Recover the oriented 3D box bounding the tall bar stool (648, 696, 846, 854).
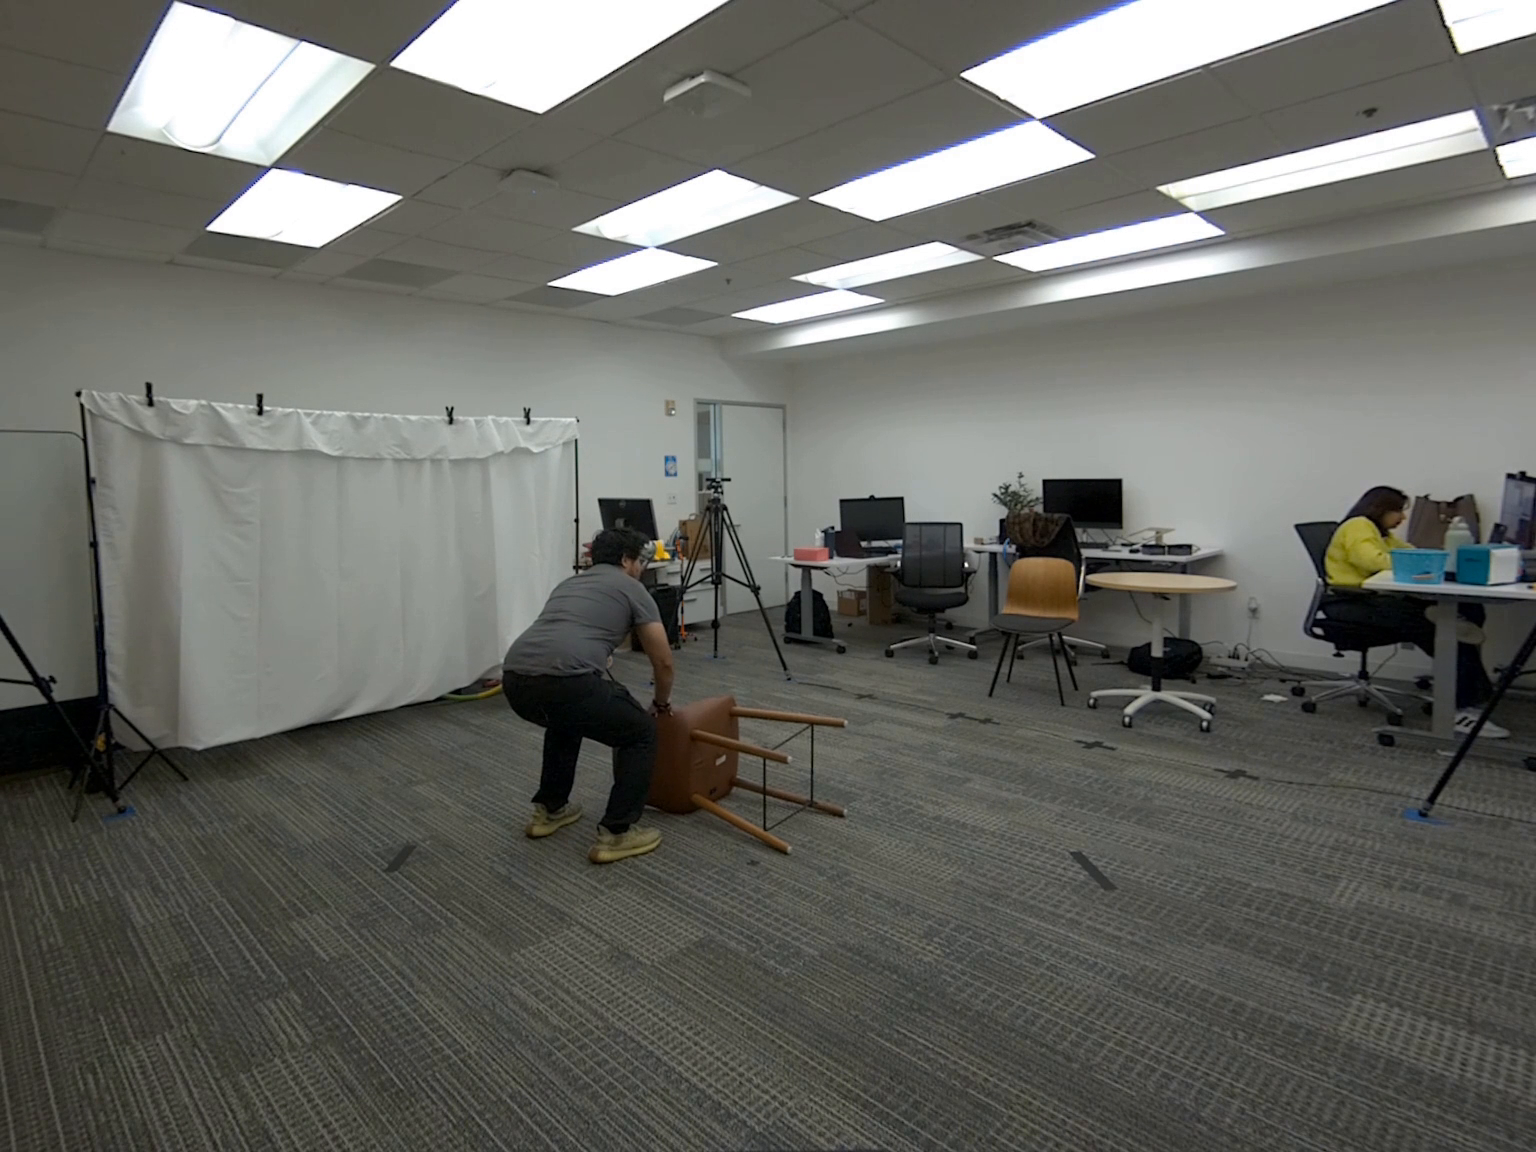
[{"bbox_3d":[-0.164,0.776,3.572,0.916,0.453,0.457,5,10,34],"label":"tall bar stool"}]
